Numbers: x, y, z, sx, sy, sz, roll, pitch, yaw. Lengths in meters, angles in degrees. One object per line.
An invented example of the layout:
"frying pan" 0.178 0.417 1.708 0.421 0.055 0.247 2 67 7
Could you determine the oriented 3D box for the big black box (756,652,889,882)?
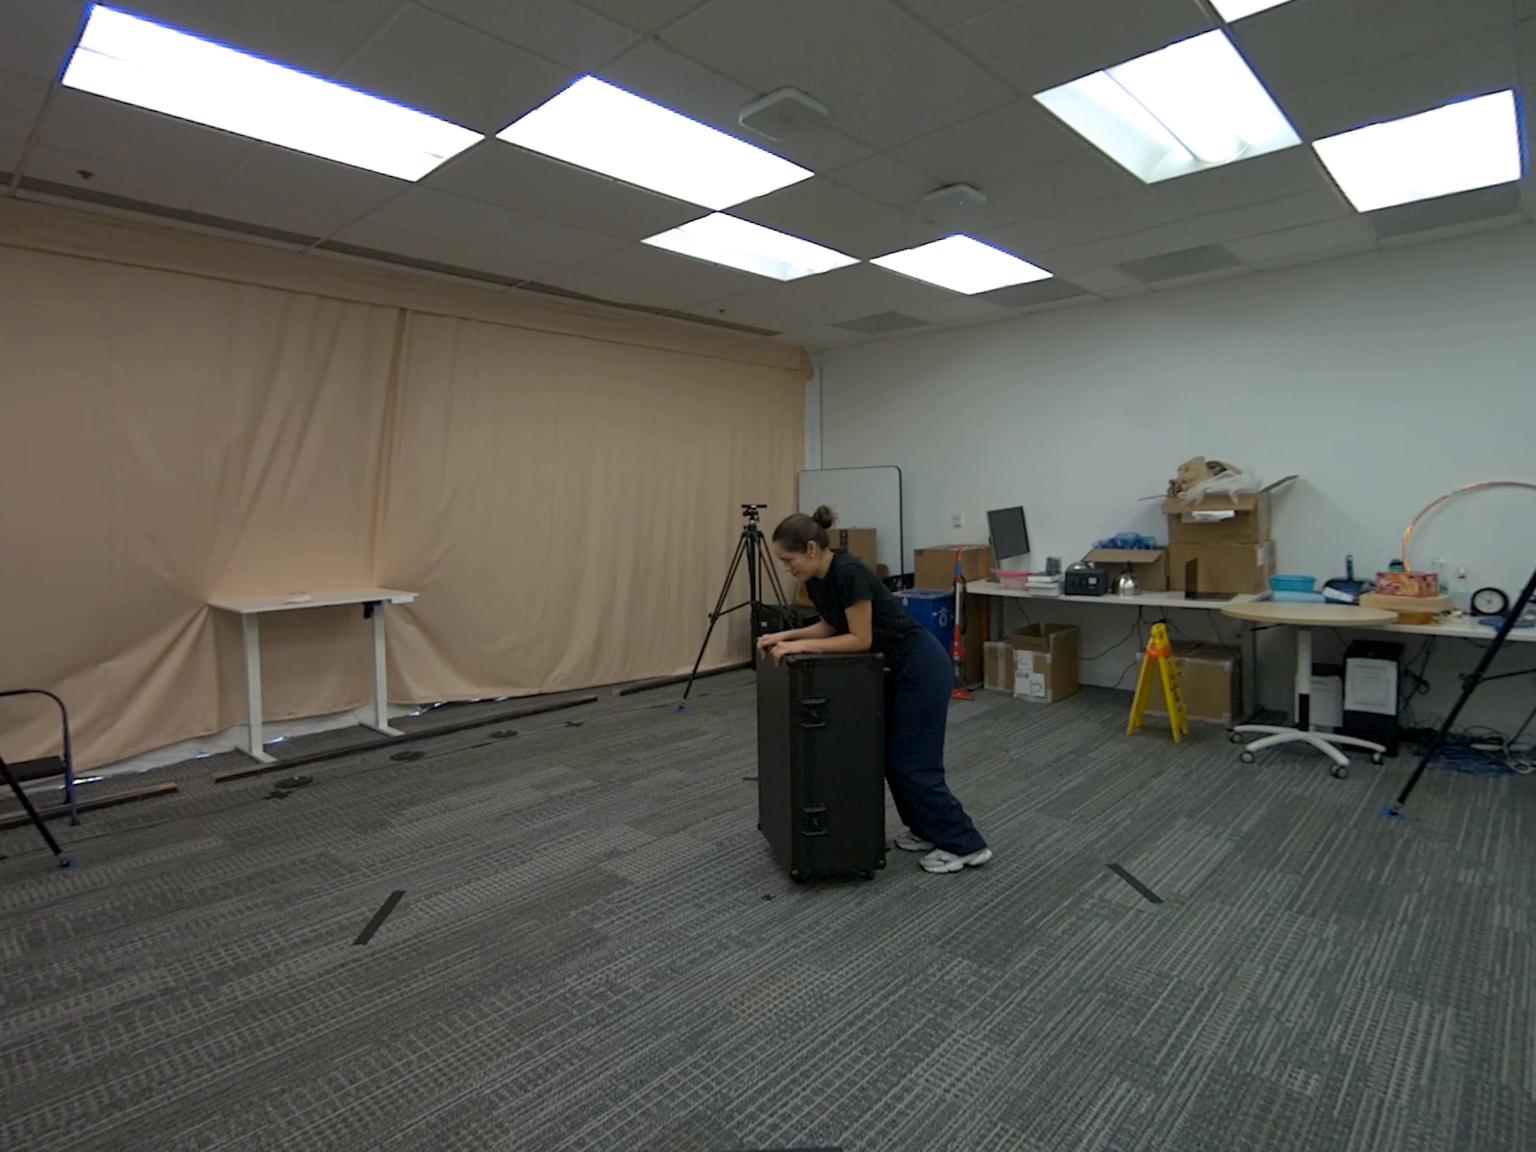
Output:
"big black box" 0.206 0.628 3.212 0.391 0.860 0.530 -2 3 -14
